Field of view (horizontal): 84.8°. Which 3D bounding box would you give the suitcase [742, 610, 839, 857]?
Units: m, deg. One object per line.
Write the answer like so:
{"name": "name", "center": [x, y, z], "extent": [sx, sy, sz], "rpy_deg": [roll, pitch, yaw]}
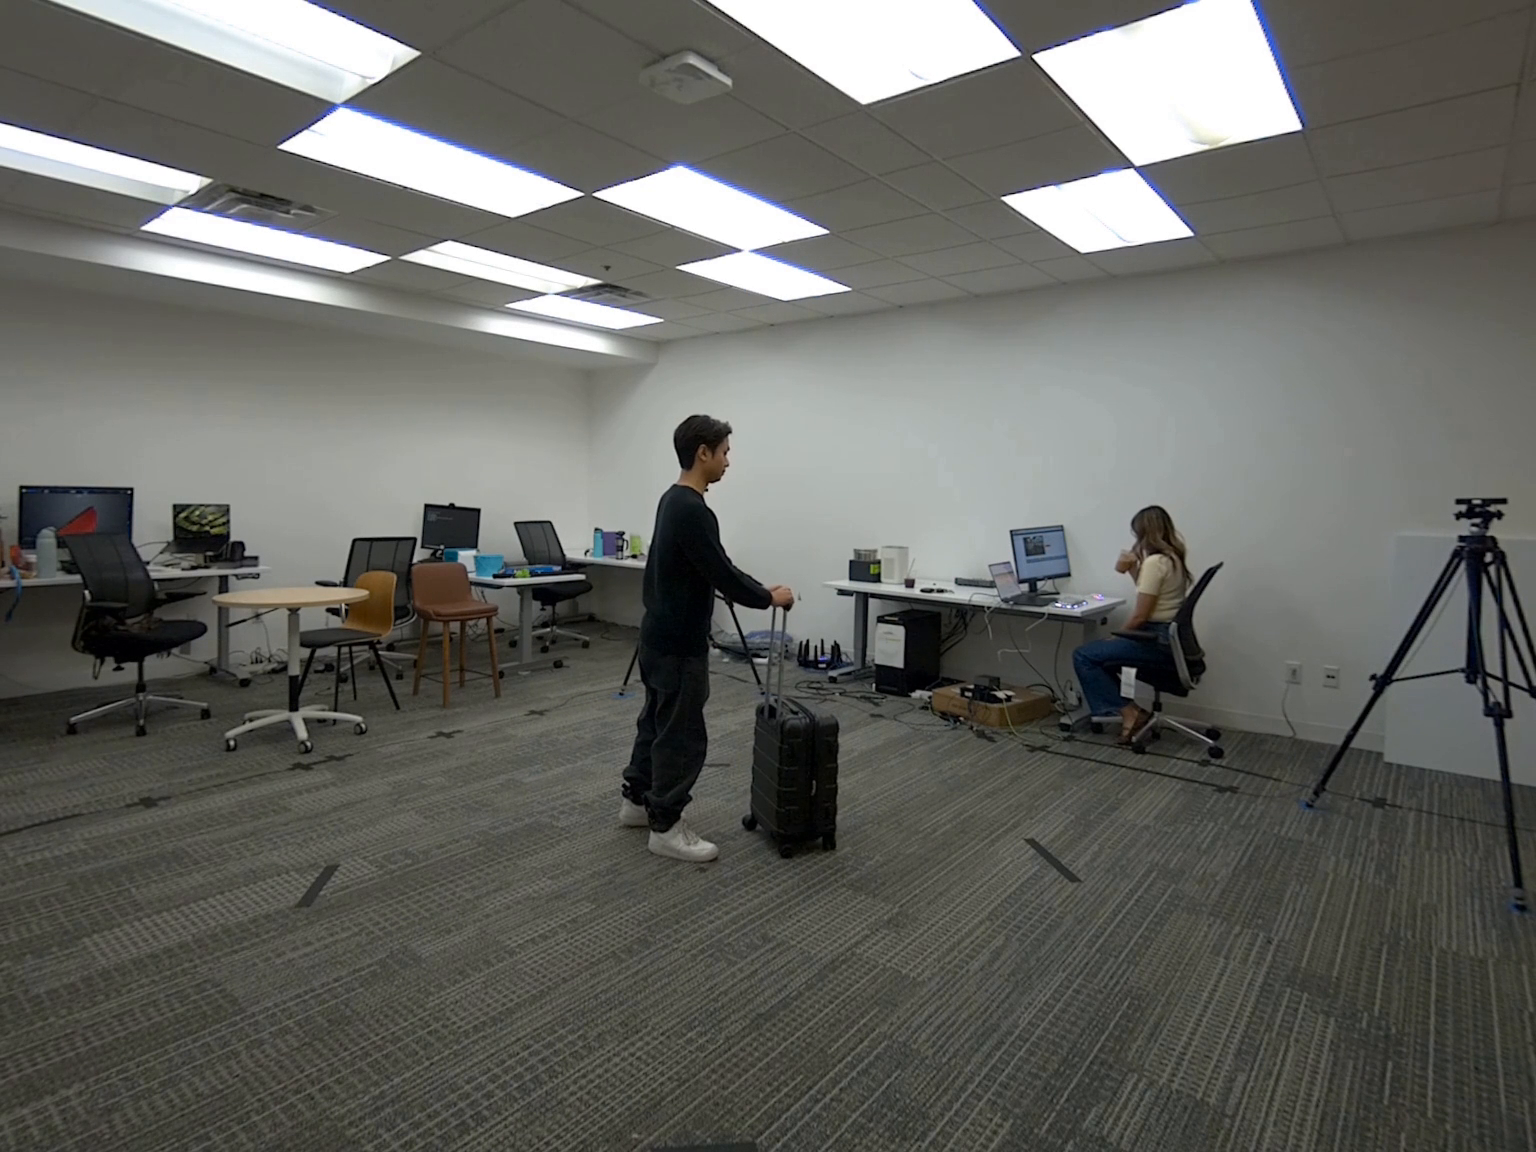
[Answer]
{"name": "suitcase", "center": [0.104, 0.577, 3.379], "extent": [0.252, 0.977, 0.392], "rpy_deg": [3, 3, -18]}
